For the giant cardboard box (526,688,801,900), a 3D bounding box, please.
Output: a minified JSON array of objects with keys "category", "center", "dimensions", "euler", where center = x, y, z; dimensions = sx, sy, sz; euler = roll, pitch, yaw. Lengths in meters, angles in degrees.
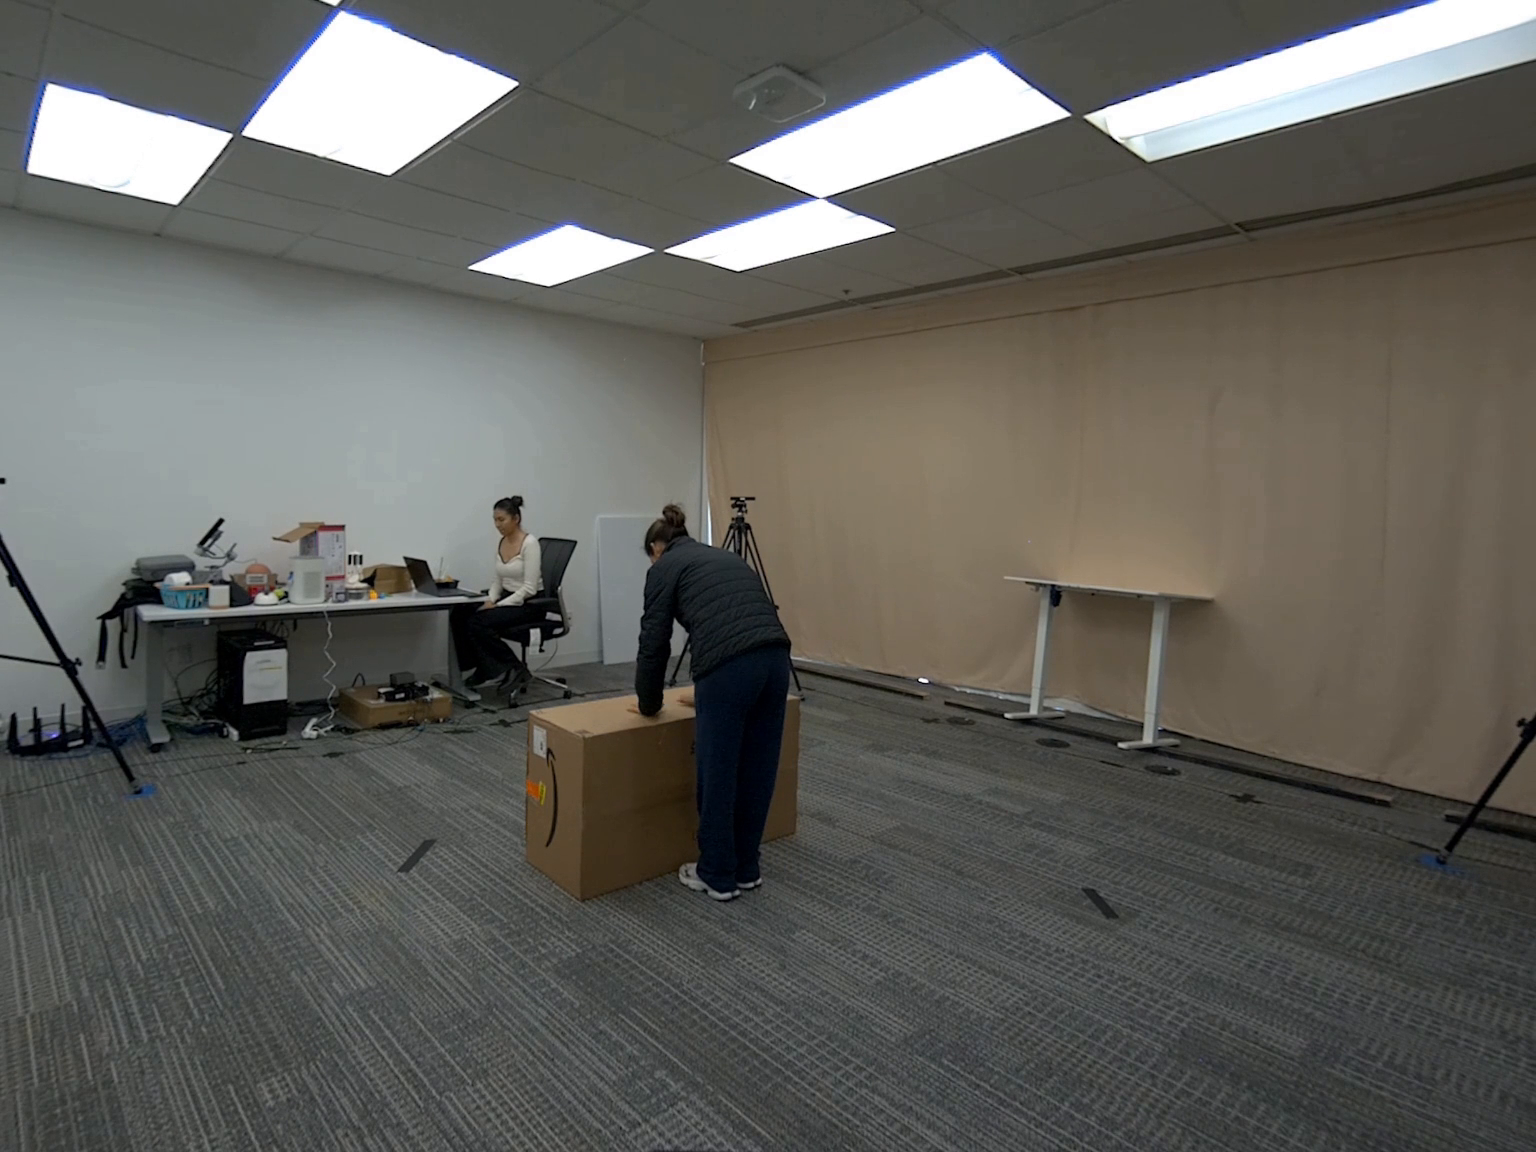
[{"category":"giant cardboard box","center":[-0.401,0.793,3.335],"dimensions":[1.004,0.582,0.458],"euler":[-2,6,-40]}]
